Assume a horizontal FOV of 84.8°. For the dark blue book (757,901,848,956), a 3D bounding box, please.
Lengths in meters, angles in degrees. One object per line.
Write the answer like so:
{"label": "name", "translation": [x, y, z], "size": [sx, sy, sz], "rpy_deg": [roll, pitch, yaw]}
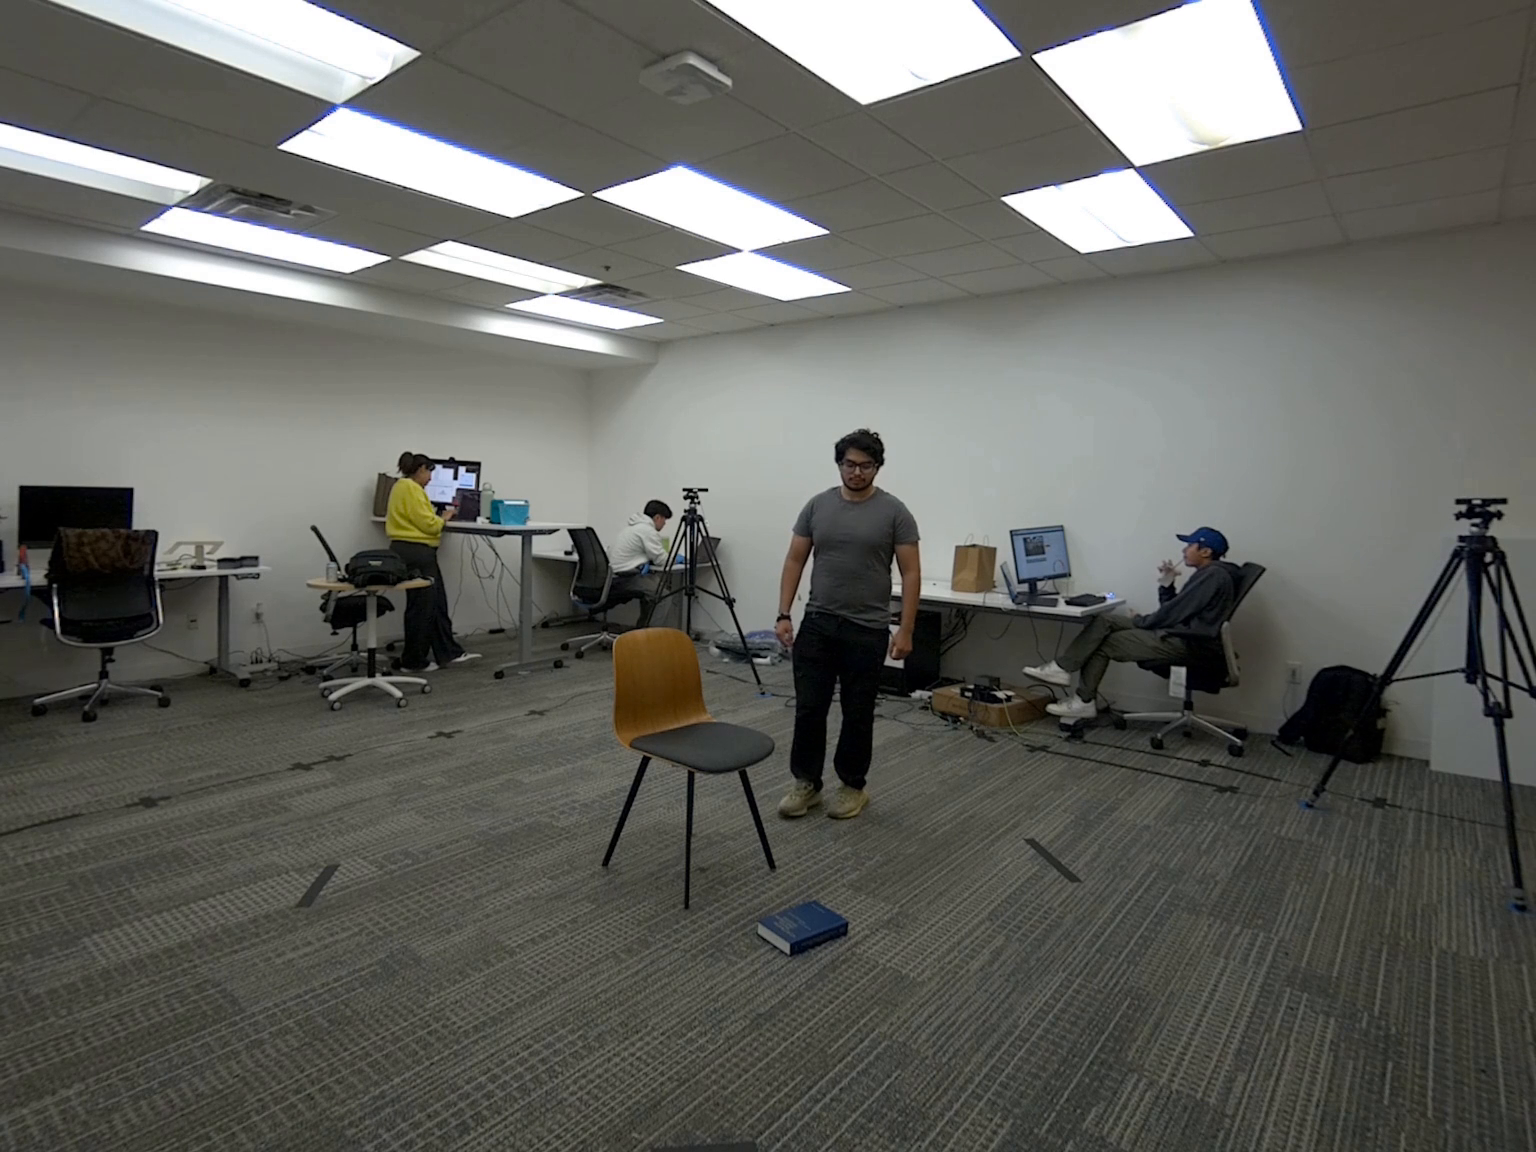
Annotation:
{"label": "dark blue book", "translation": [0.102, 1.093, 2.666], "size": [0.238, 0.045, 0.169], "rpy_deg": [-4, 8, -38]}
